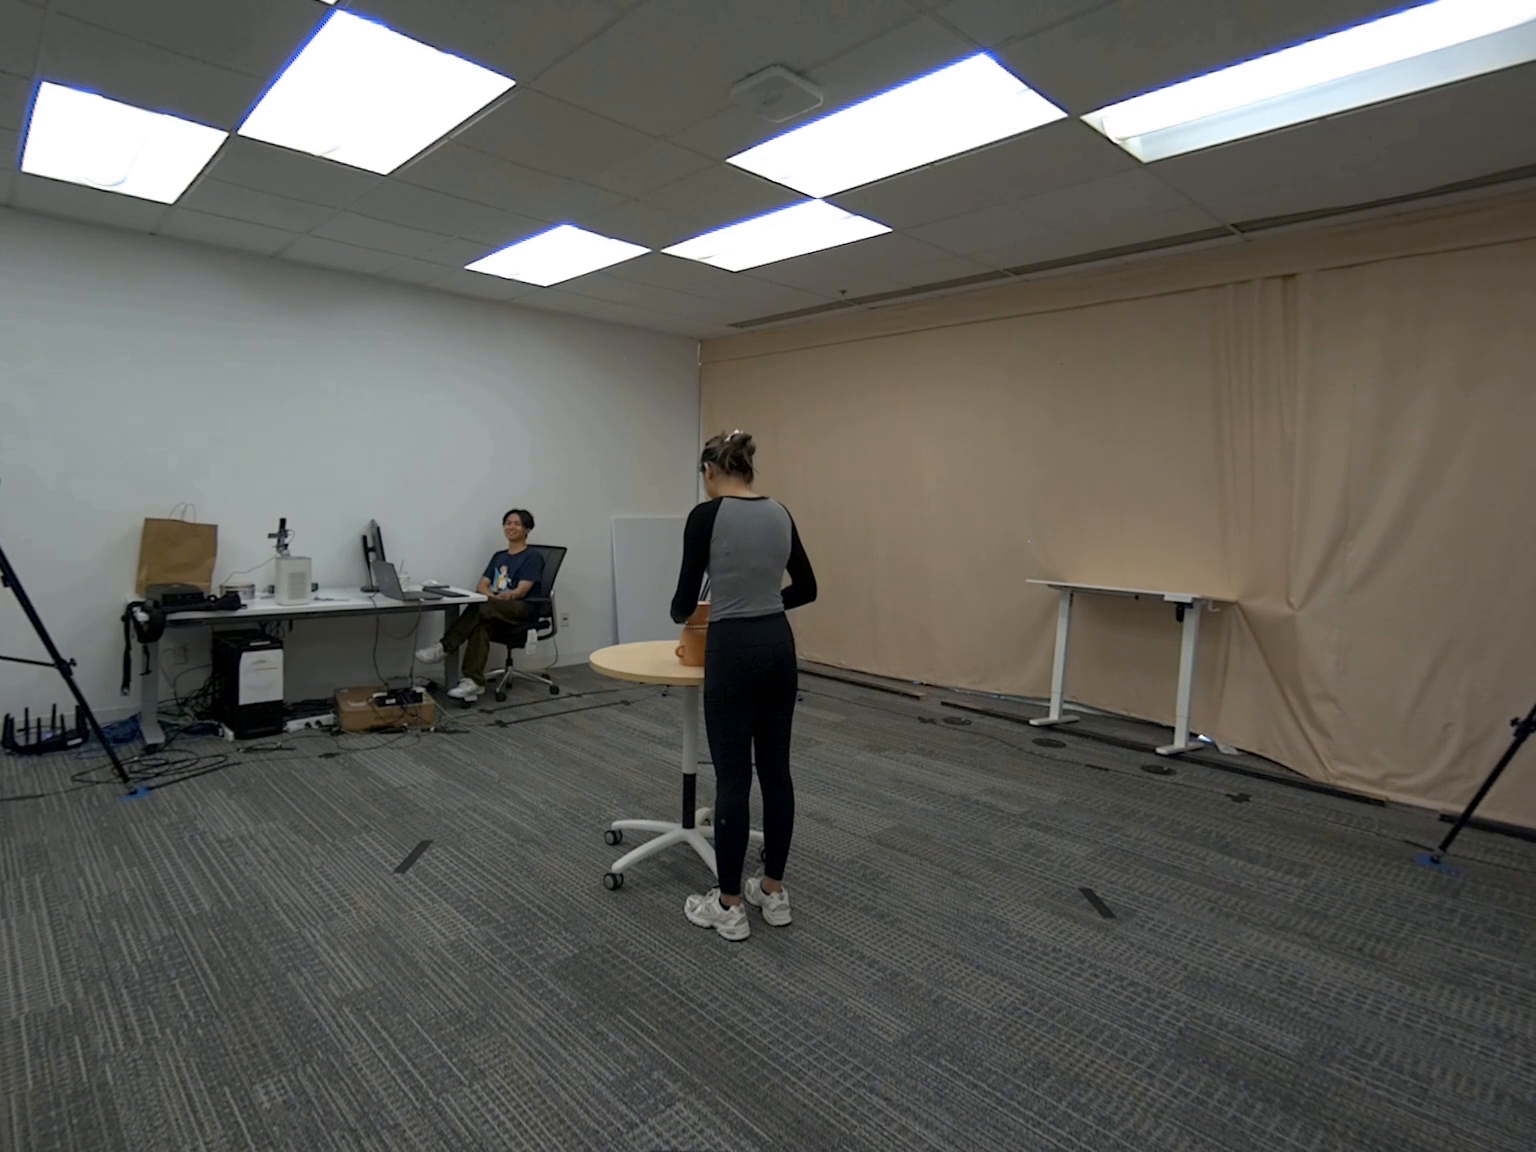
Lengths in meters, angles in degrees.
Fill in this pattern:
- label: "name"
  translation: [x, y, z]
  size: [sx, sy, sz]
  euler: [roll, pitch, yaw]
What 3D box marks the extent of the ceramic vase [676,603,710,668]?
- label: "ceramic vase"
  translation: [-0.256, 0.203, 3.033]
  size: [0.135, 0.219, 0.158]
  euler: [3, 5, 7]
